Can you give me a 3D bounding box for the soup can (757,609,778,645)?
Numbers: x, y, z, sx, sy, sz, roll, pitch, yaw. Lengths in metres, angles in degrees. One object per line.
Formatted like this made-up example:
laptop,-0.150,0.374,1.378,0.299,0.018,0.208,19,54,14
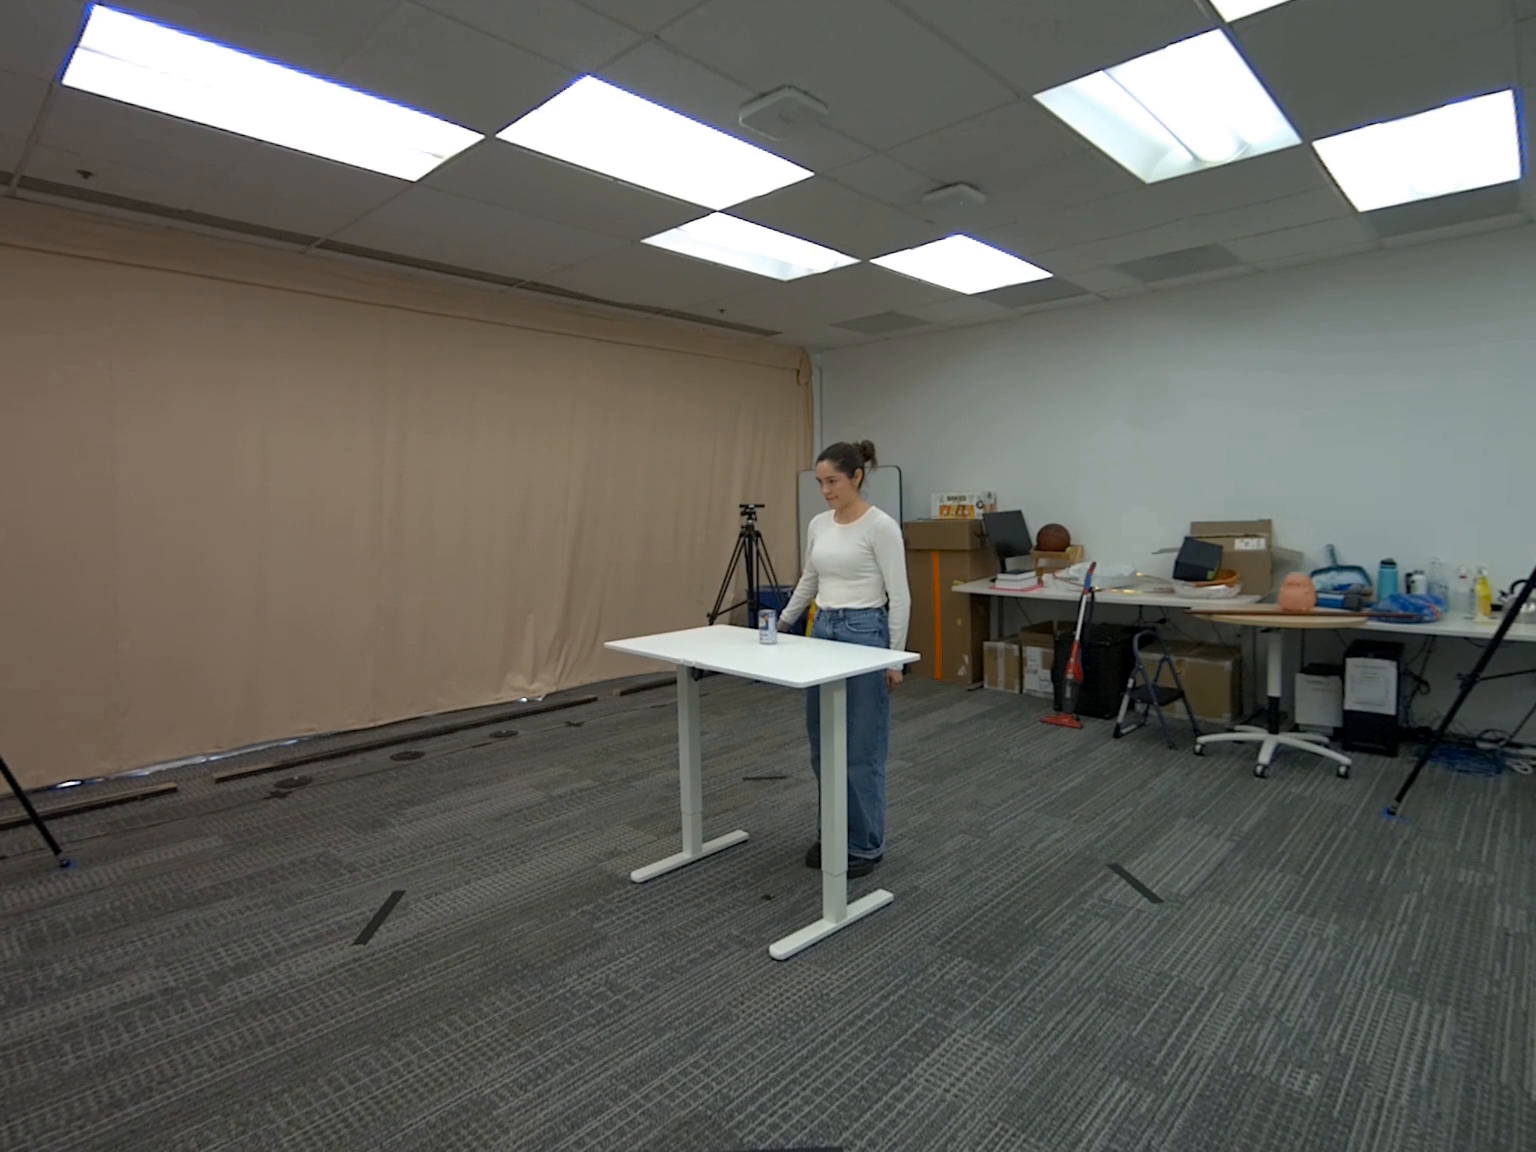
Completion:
soup can,0.009,0.185,3.100,0.067,0.121,0.067,1,2,-2
